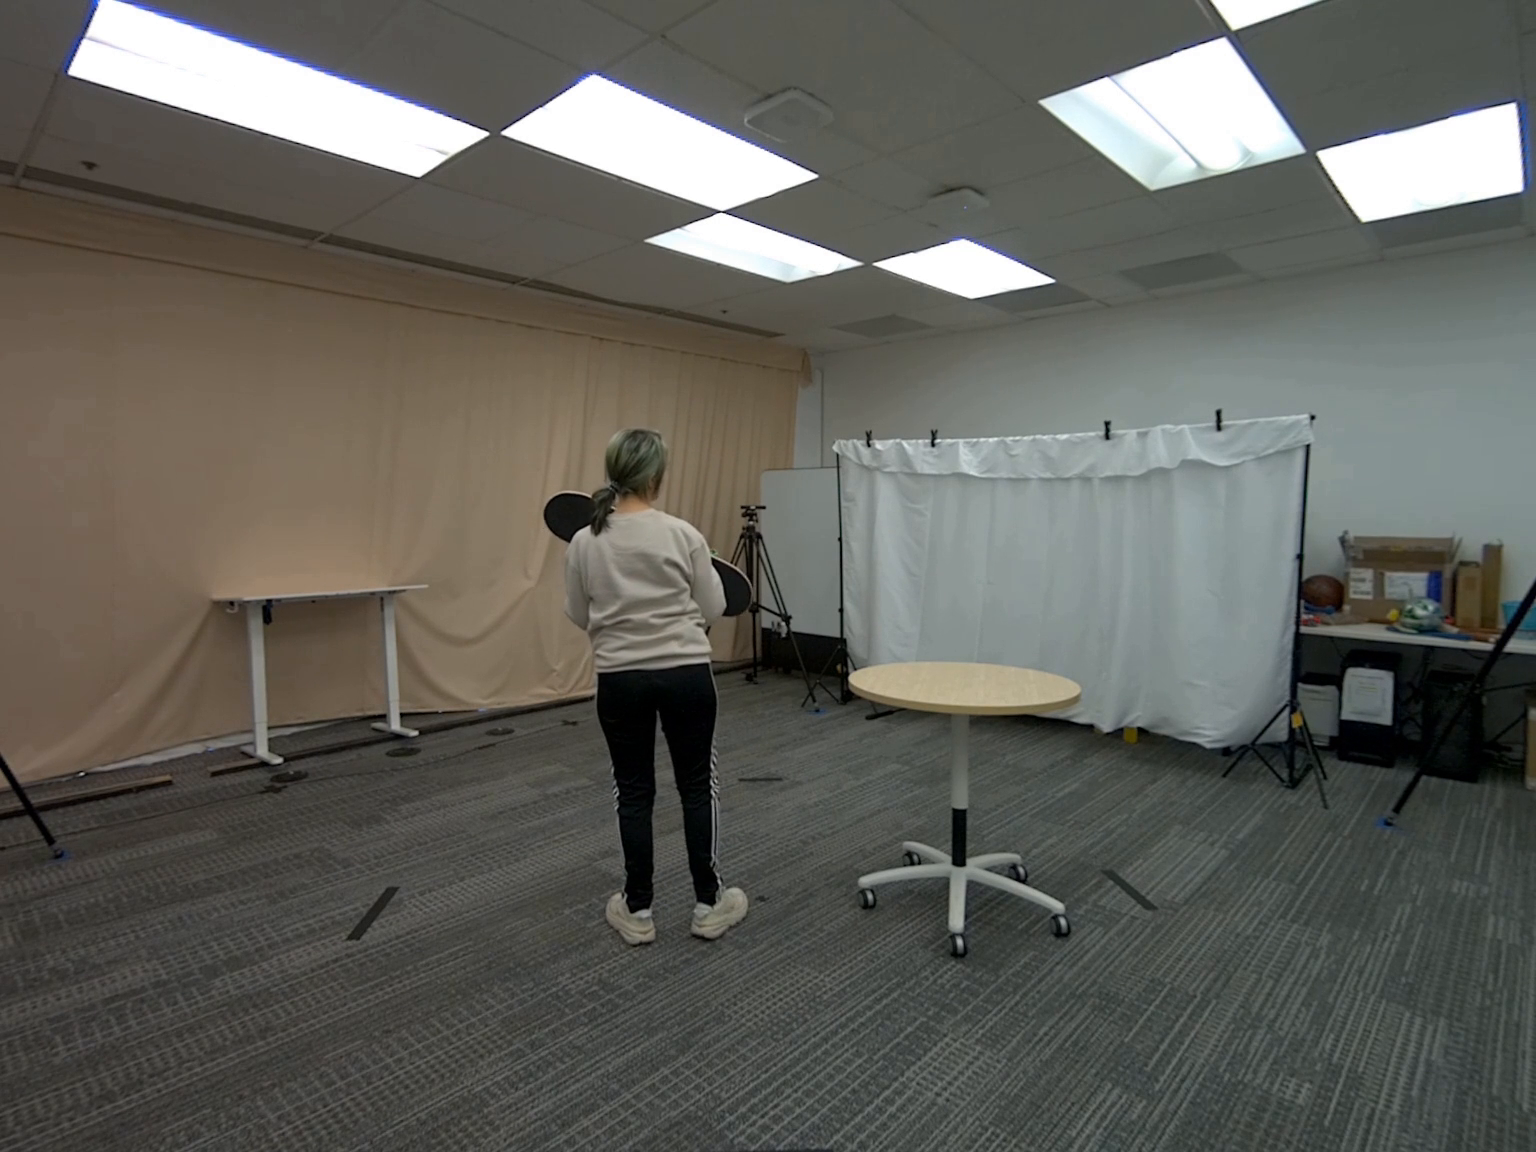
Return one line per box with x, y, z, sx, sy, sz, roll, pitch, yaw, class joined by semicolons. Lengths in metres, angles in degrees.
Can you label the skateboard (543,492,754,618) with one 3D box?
-0.413;-0.084;2.967;0.783;0.193;0.111;28;19;-2;skateboard
